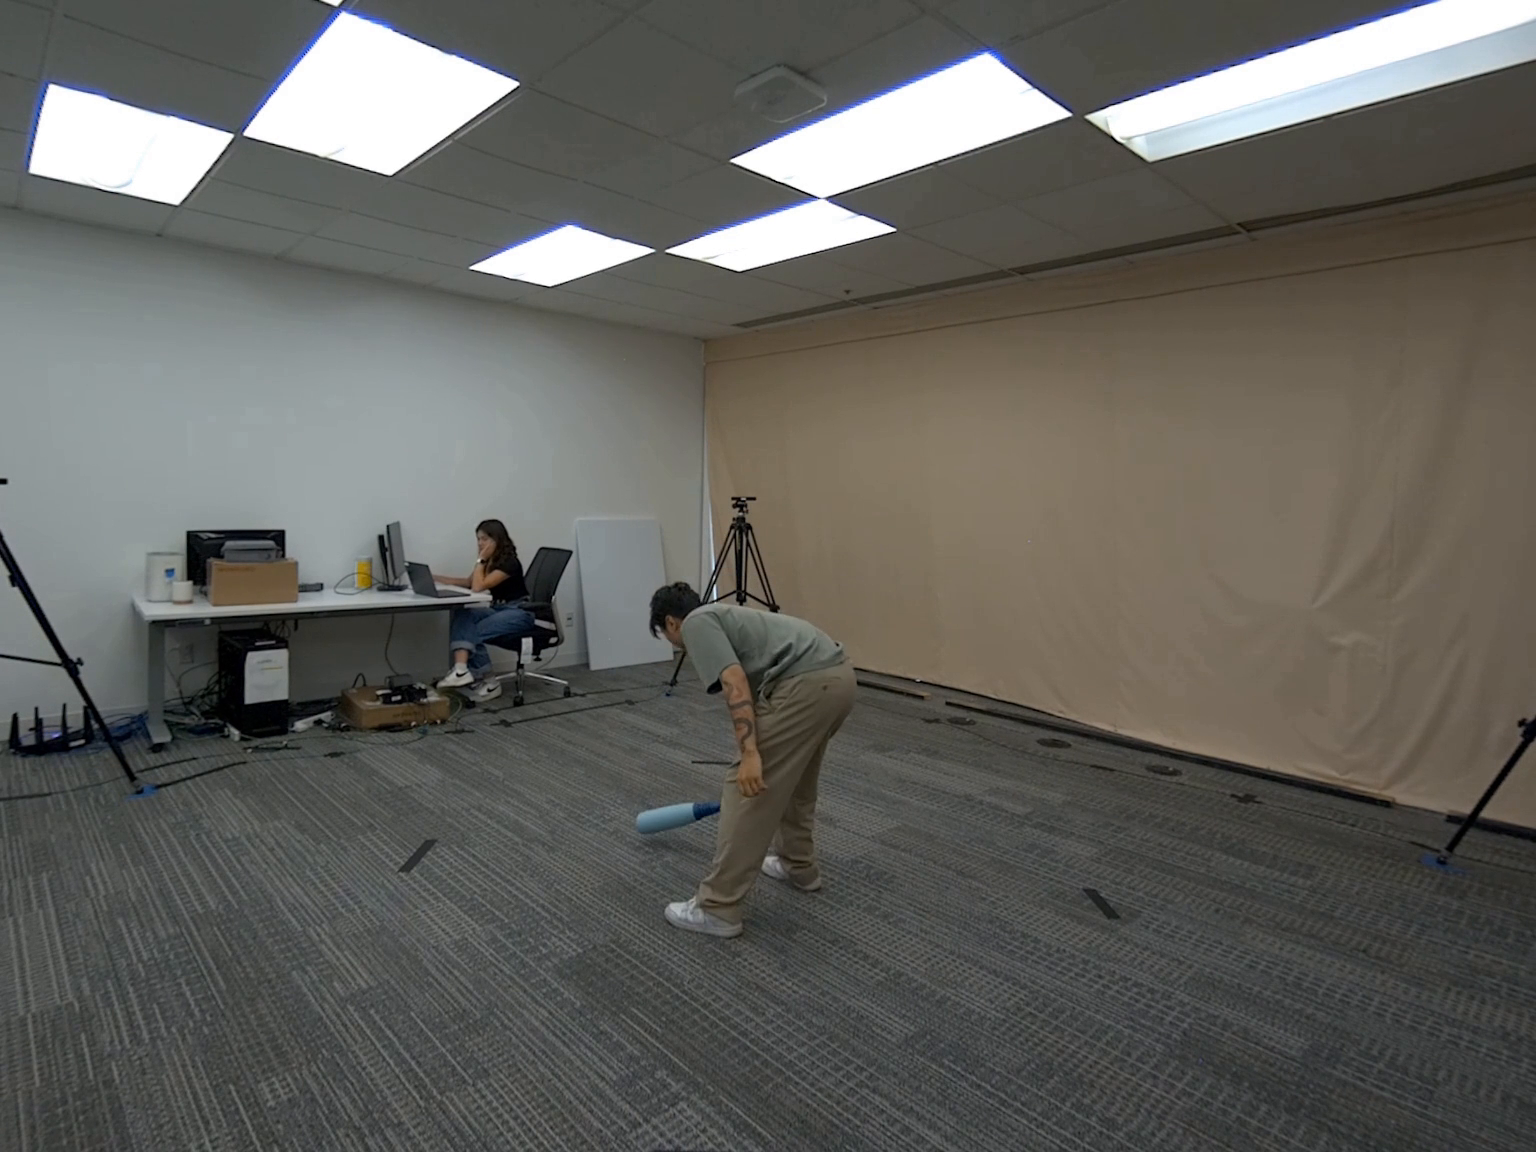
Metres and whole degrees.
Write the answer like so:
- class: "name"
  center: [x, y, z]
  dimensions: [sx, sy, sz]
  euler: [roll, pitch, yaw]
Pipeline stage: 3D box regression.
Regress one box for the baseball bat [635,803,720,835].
- class: "baseball bat"
  center: [-0.273, 0.919, 3.308]
  dimensions: [0.547, 0.089, 0.088]
  euler: [-14, 1, 13]
